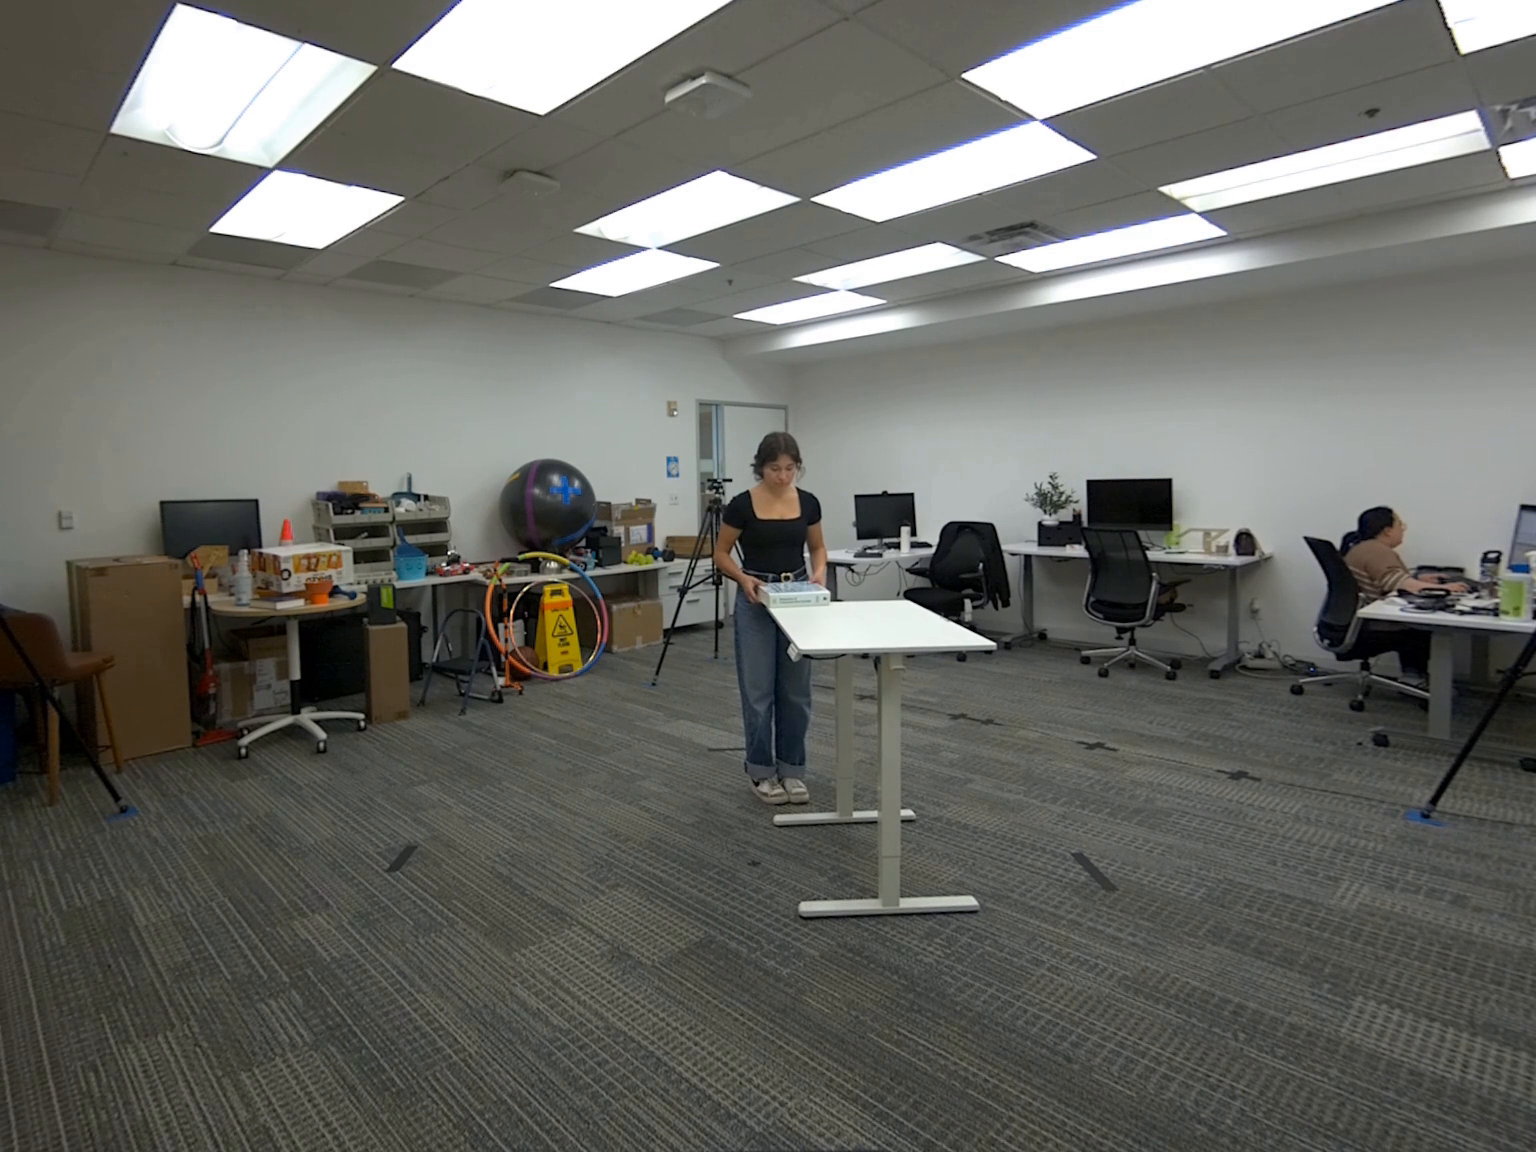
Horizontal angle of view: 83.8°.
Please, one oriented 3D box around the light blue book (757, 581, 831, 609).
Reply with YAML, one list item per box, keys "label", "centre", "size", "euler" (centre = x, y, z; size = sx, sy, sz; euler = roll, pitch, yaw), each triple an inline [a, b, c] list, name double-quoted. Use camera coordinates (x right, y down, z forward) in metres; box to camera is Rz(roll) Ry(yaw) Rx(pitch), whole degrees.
- label: "light blue book"
  centre: [0.100, 0.076, 3.528]
  size: [0.257, 0.058, 0.196]
  euler: [-2, 11, -15]
